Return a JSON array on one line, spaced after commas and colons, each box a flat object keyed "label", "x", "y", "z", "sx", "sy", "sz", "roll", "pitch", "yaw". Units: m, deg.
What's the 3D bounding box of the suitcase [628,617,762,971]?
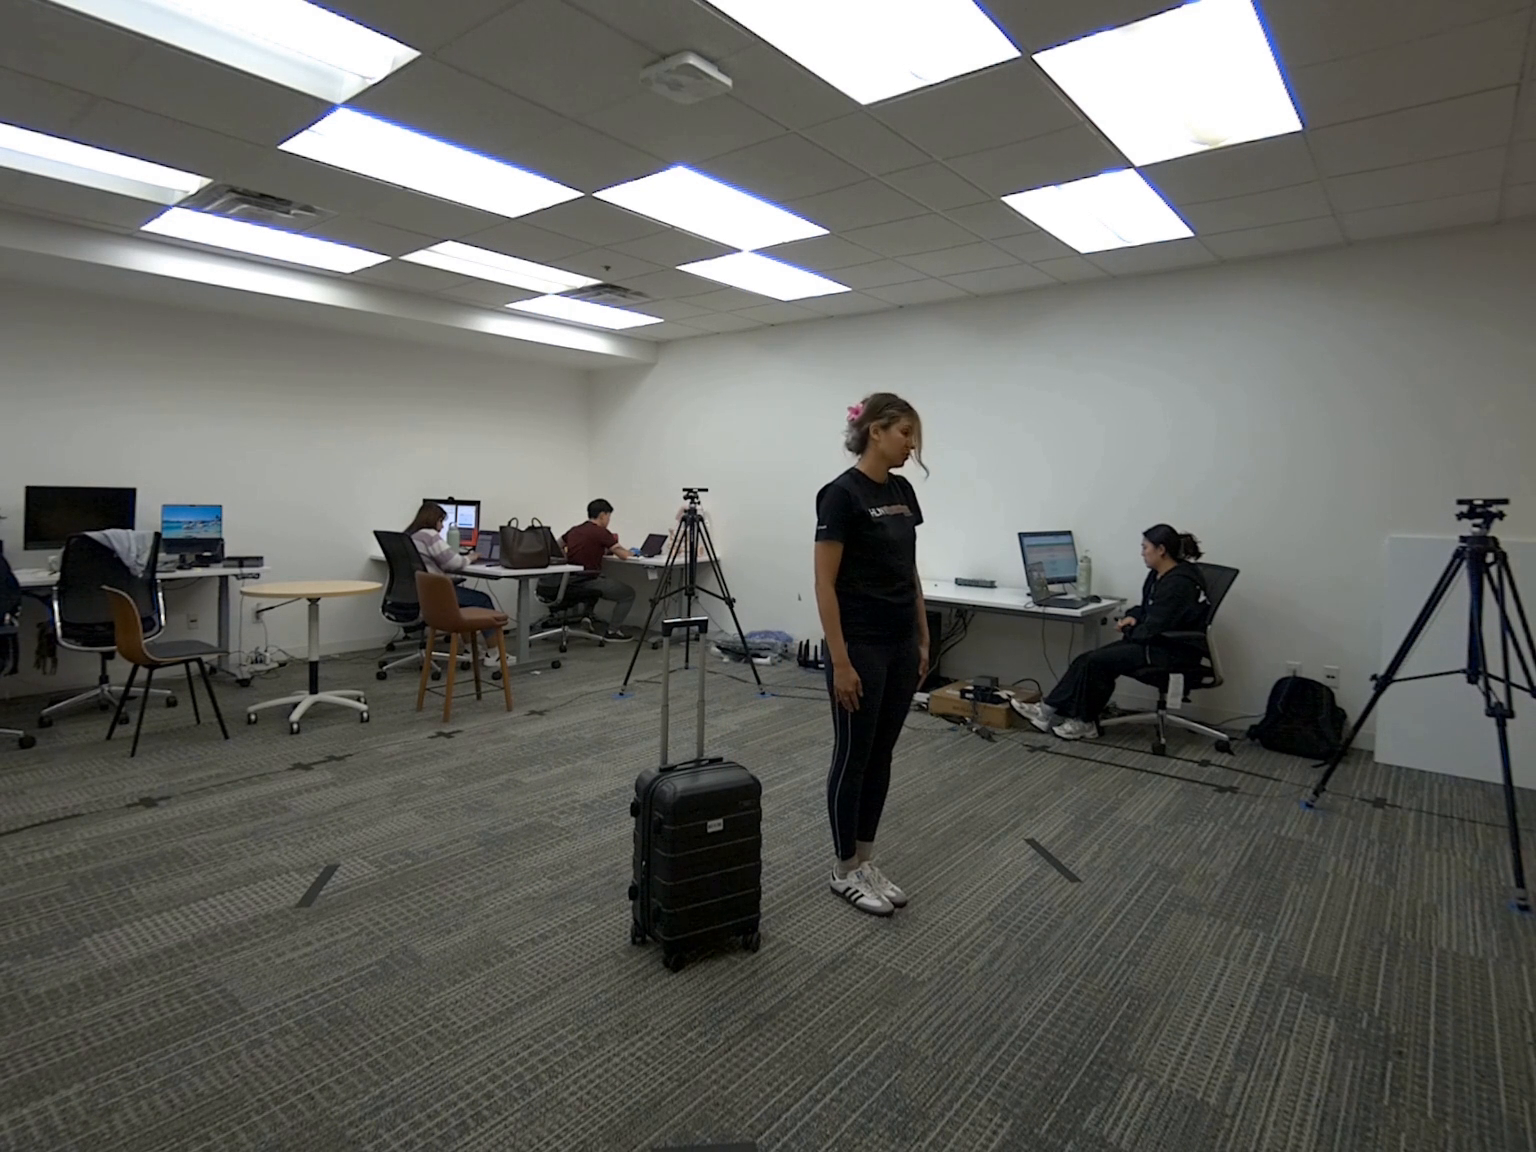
[{"label": "suitcase", "x": -0.214, "y": 0.646, "z": 2.567, "sx": 0.374, "sy": 0.975, "sz": 0.265, "roll": 0, "pitch": 5, "yaw": -29}]
